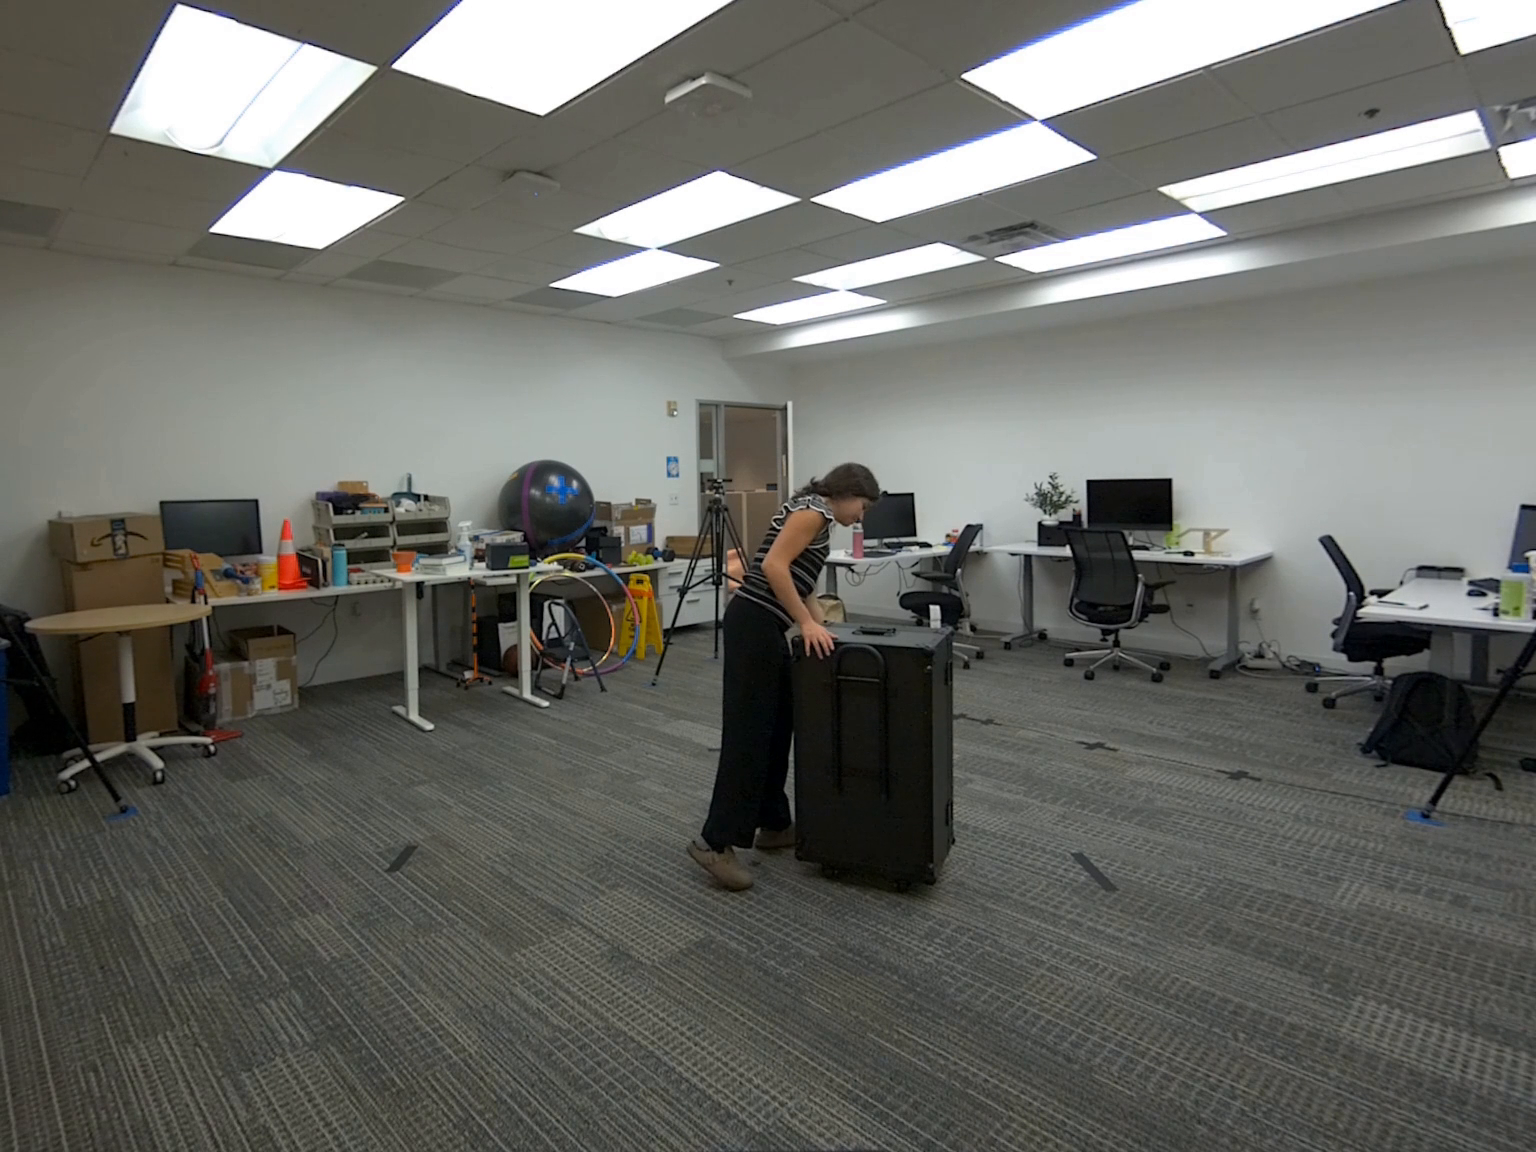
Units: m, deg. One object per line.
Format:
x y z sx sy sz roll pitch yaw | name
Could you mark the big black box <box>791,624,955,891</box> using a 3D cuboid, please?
0.386 0.626 2.990 0.533 0.857 0.389 1 6 24 | big black box
